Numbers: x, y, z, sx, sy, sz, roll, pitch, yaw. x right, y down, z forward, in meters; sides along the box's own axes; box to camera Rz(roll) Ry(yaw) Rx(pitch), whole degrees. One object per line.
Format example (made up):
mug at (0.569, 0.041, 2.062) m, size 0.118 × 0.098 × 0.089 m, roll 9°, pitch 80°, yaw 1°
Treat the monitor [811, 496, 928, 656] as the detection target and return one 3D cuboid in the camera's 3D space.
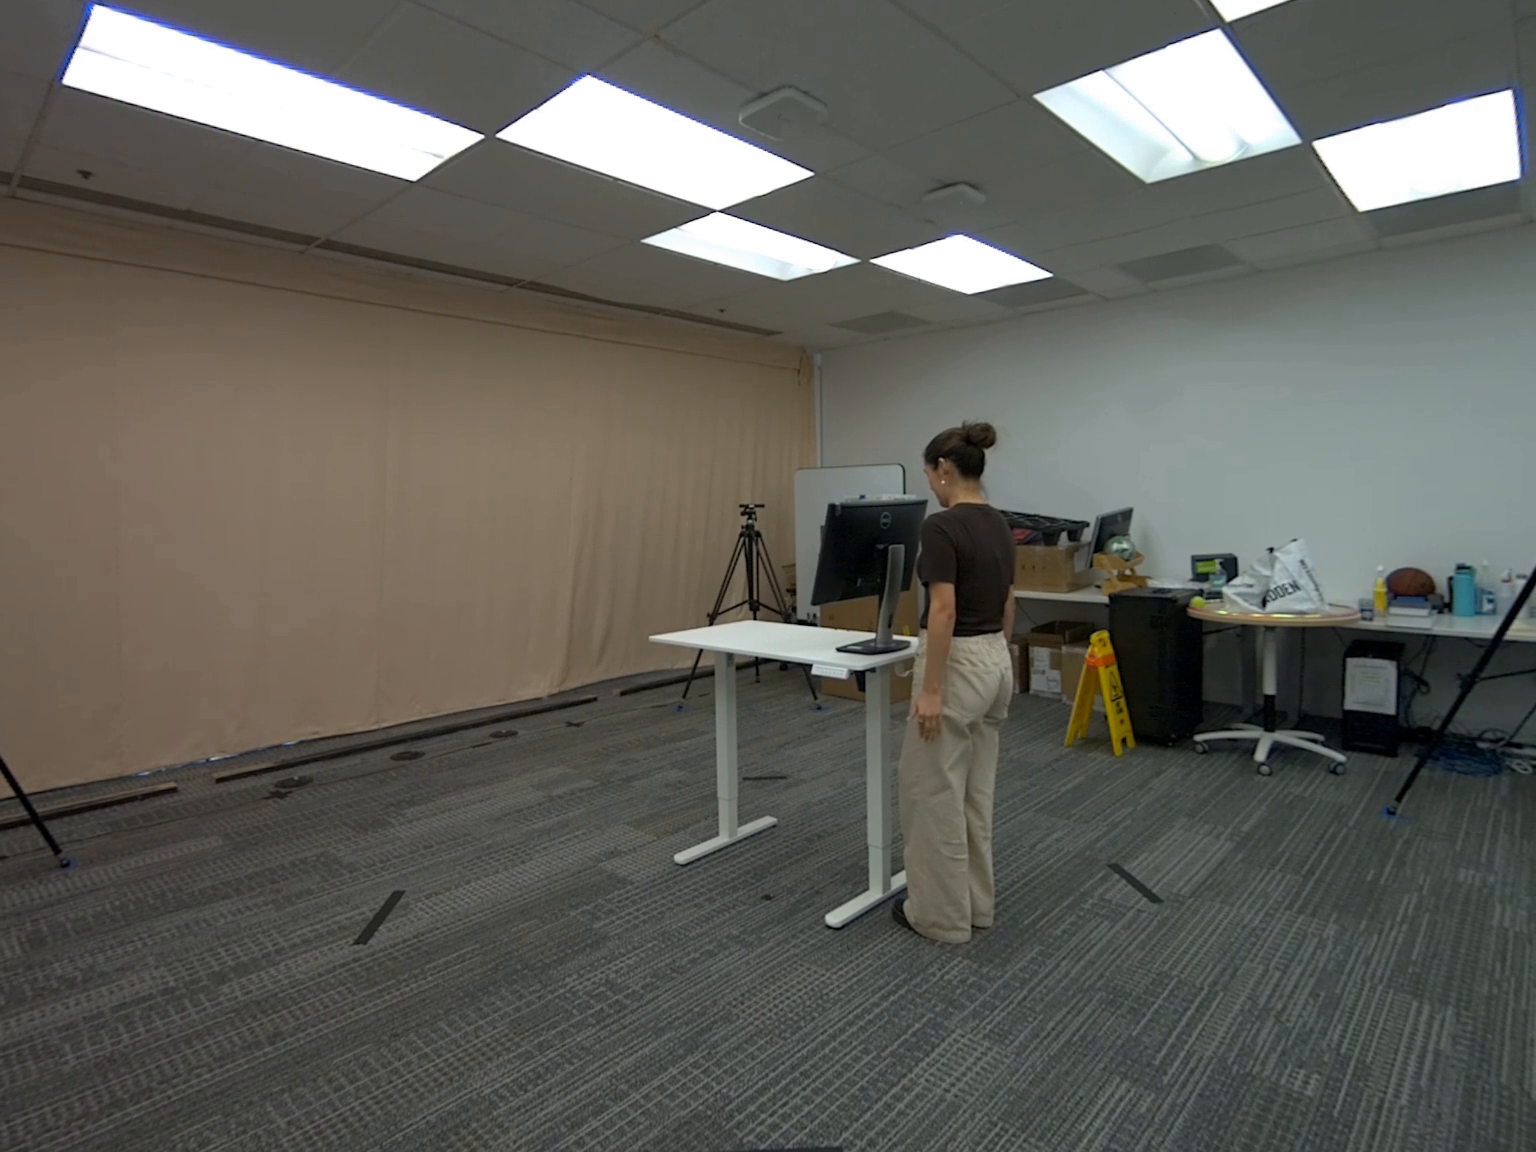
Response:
monitor at (0.390, 0.001, 2.917) m, size 0.193 × 0.521 × 0.523 m, roll 4°, pitch 7°, yaw 44°
